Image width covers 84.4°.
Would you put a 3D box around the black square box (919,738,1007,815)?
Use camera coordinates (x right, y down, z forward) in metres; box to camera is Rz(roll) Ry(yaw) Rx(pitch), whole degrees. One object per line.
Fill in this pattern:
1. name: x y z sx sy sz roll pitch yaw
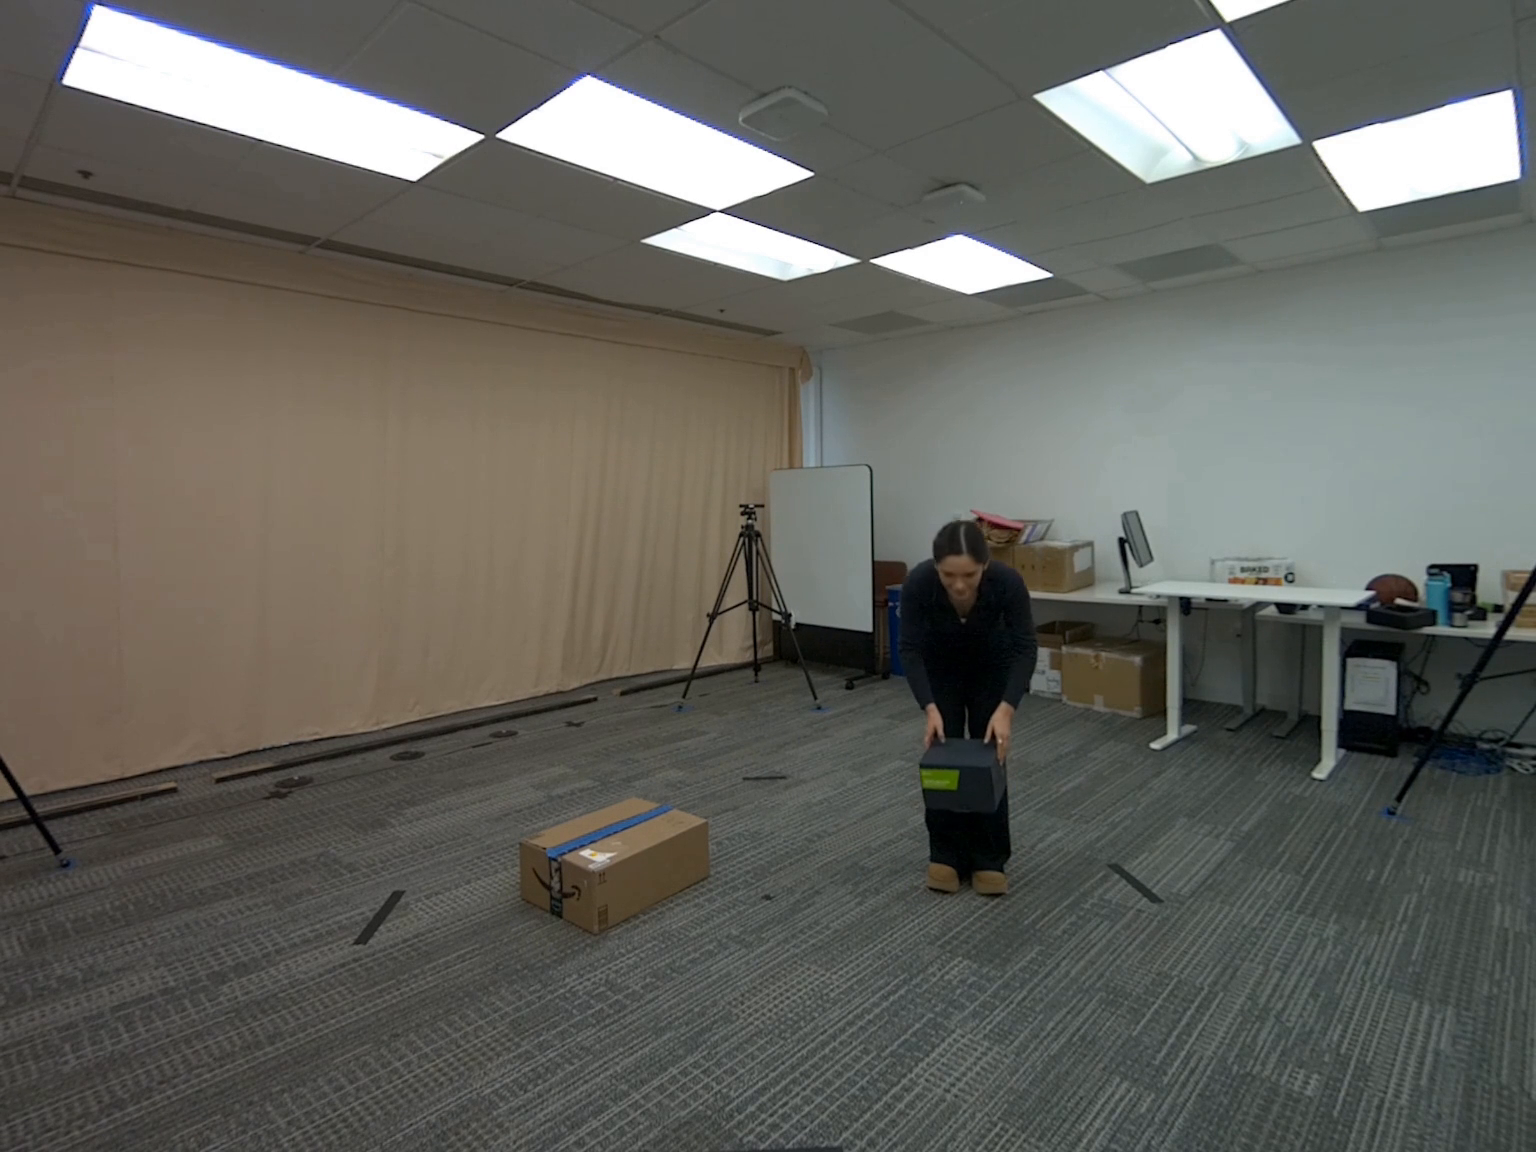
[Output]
1. black square box: 0.645 0.649 2.771 0.234 0.155 0.213 -4 11 28
